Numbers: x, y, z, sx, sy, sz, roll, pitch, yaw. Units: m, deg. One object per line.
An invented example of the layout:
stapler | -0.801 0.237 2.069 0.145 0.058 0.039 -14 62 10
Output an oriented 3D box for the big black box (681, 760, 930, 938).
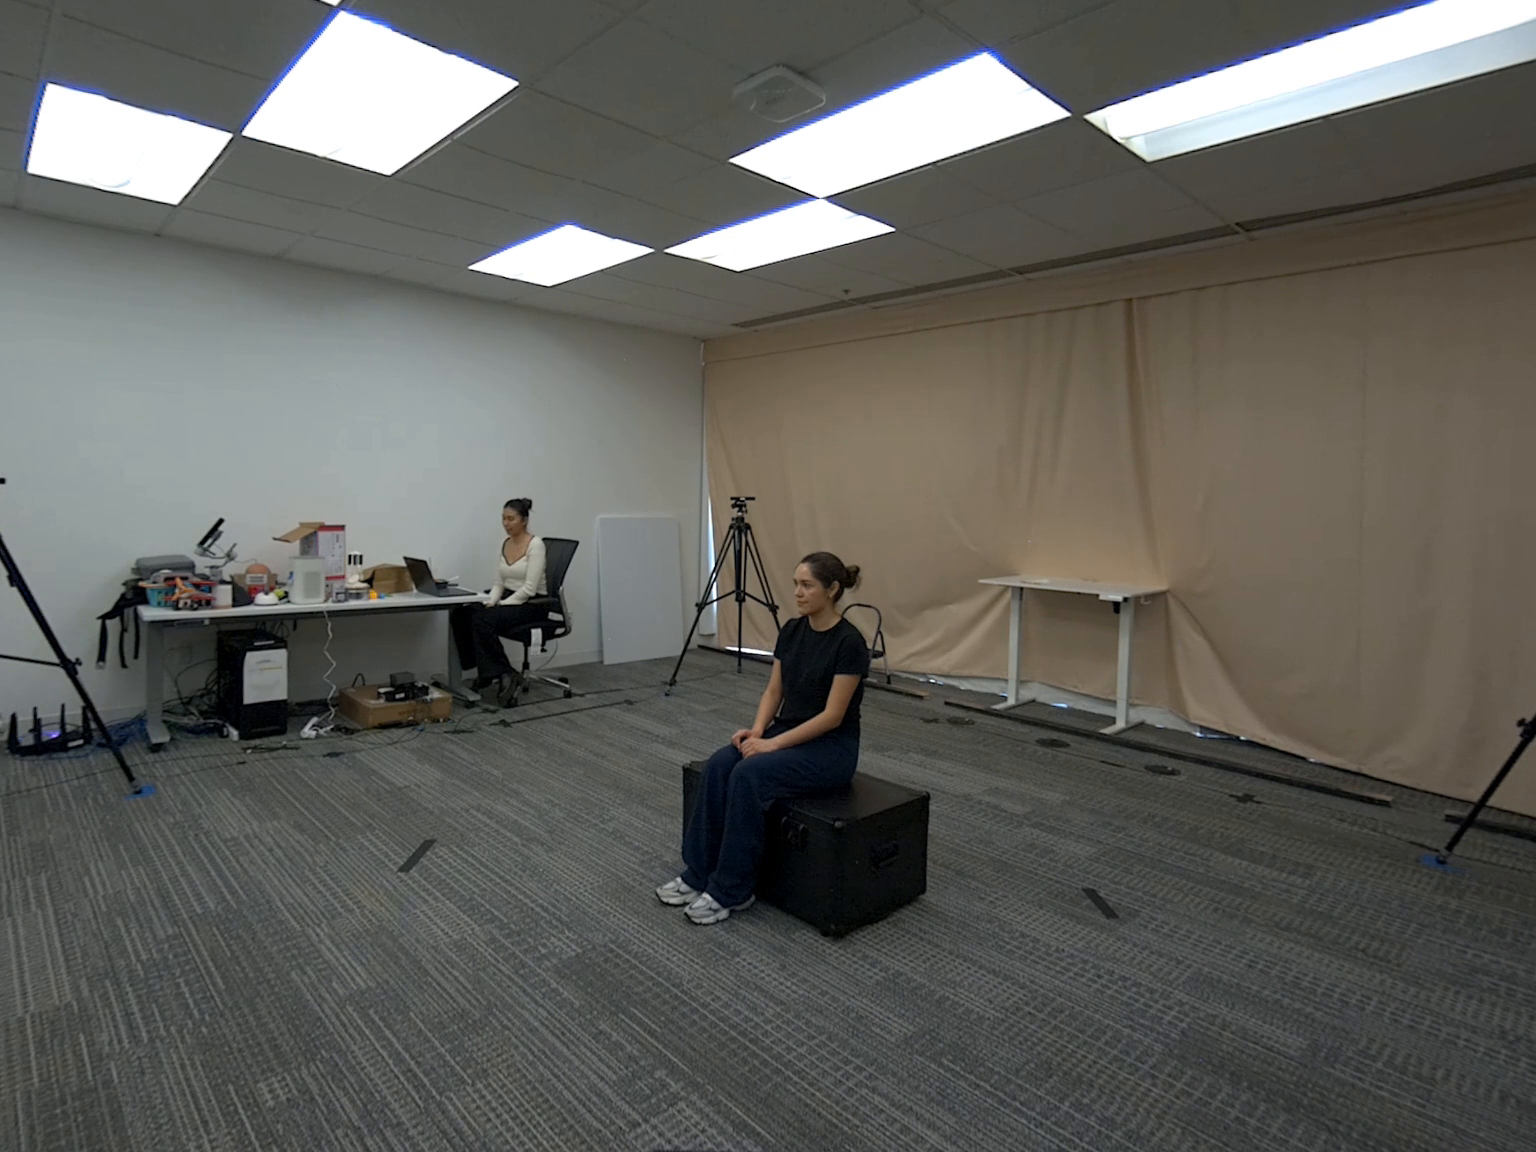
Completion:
big black box | 0.094 0.927 3.087 0.509 0.395 0.884 -2 6 -44
